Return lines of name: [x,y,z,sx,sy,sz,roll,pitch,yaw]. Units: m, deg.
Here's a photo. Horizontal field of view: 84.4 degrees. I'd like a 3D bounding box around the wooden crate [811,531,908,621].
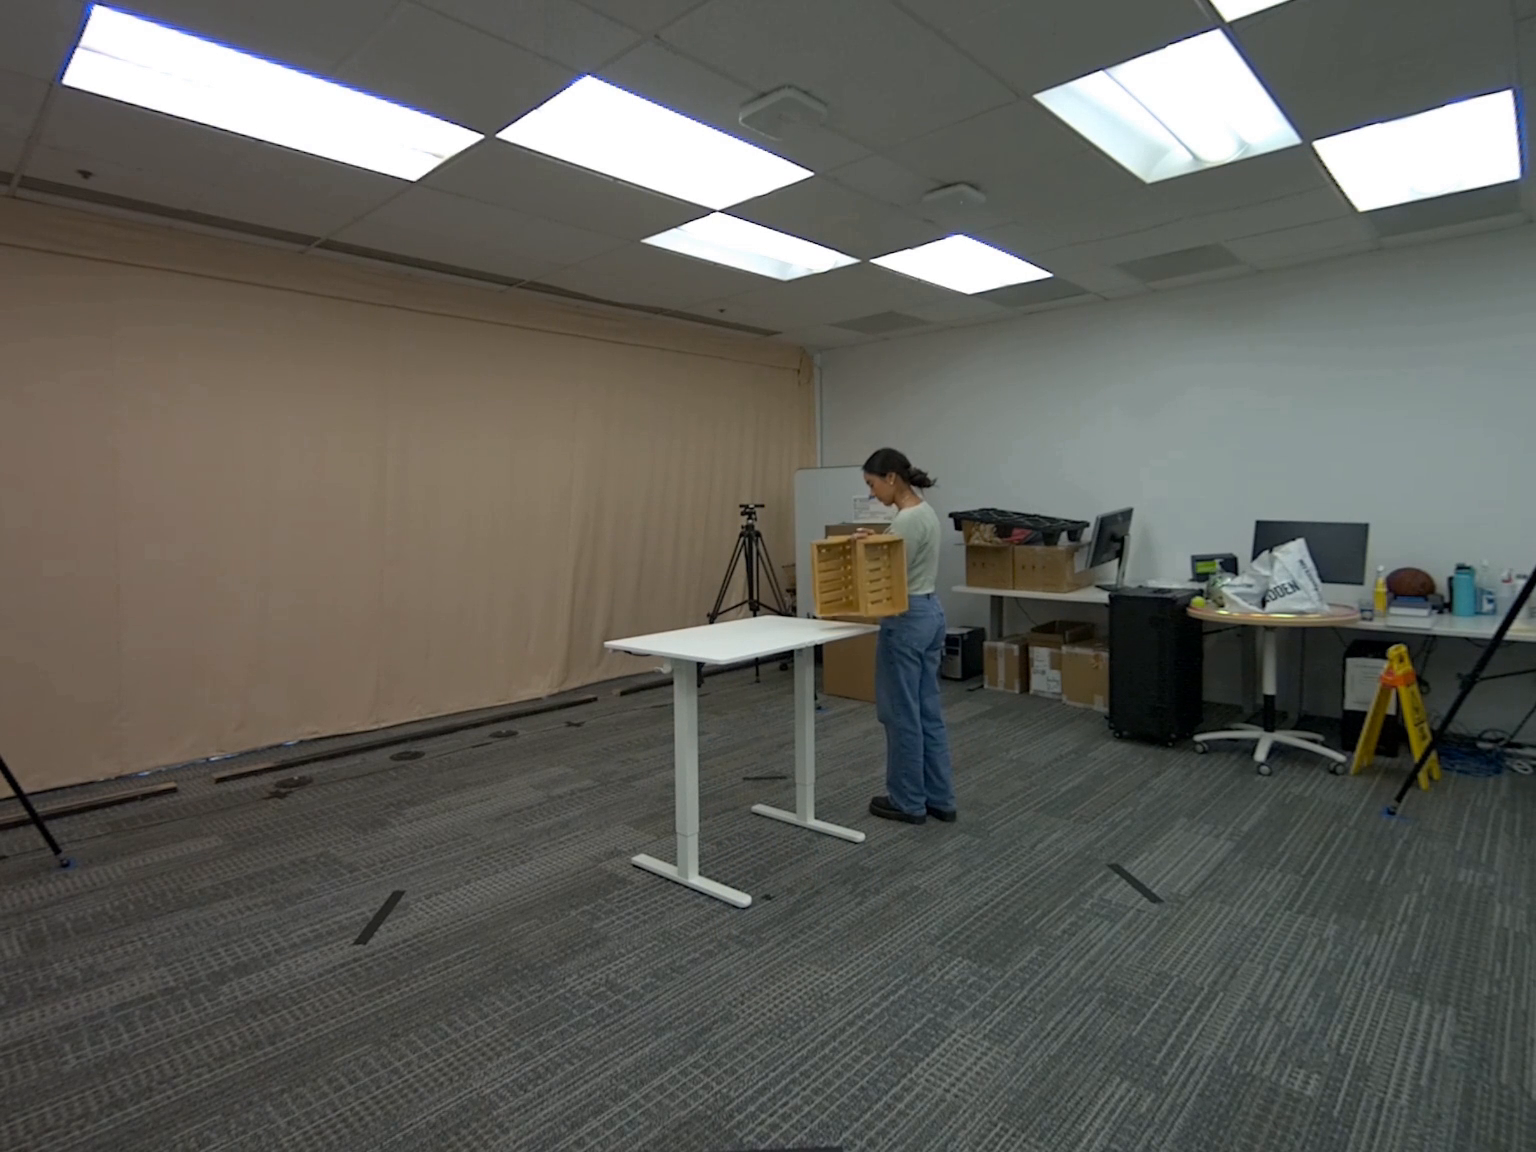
wooden crate: [0.366,0.001,3.393,0.293,0.323,0.282,-9,8,-39]
